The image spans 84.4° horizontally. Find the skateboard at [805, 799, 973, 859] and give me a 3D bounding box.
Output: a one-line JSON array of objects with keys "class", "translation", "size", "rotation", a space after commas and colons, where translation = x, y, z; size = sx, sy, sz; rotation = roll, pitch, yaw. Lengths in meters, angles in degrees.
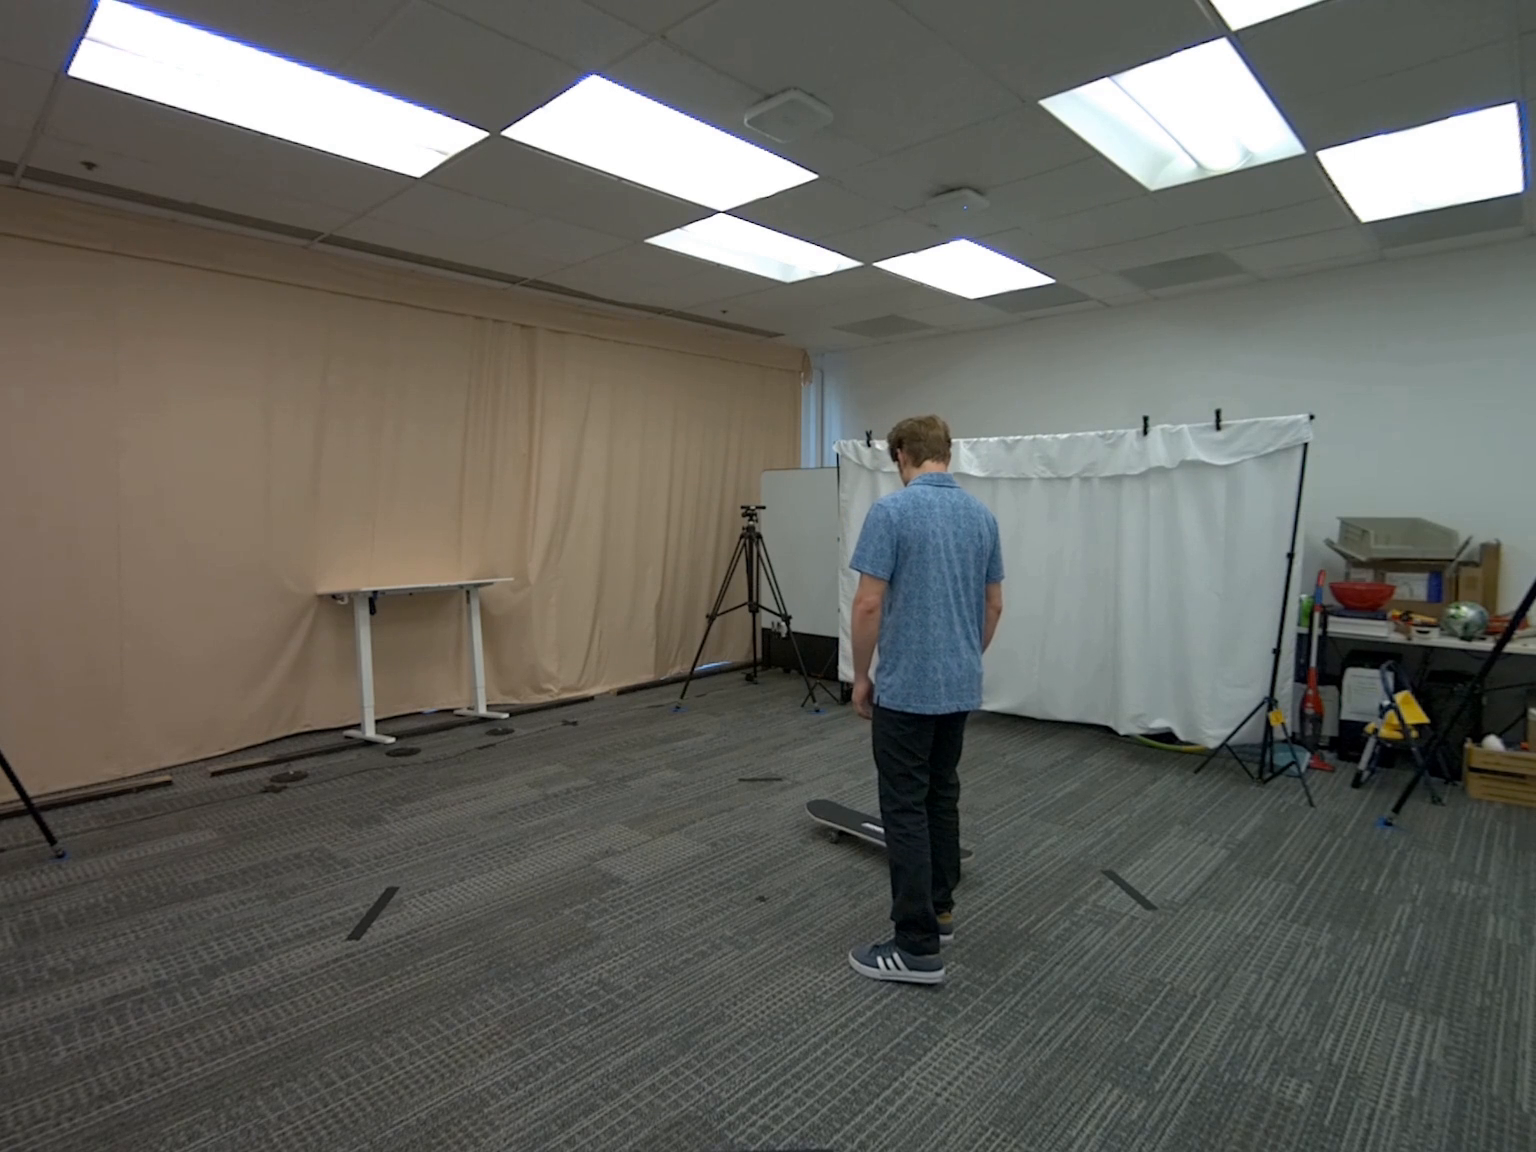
[{"class": "skateboard", "translation": [0.467, 1.052, 3.374], "size": [0.187, 0.110, 0.812], "rotation": [-3, 5, -42]}]
